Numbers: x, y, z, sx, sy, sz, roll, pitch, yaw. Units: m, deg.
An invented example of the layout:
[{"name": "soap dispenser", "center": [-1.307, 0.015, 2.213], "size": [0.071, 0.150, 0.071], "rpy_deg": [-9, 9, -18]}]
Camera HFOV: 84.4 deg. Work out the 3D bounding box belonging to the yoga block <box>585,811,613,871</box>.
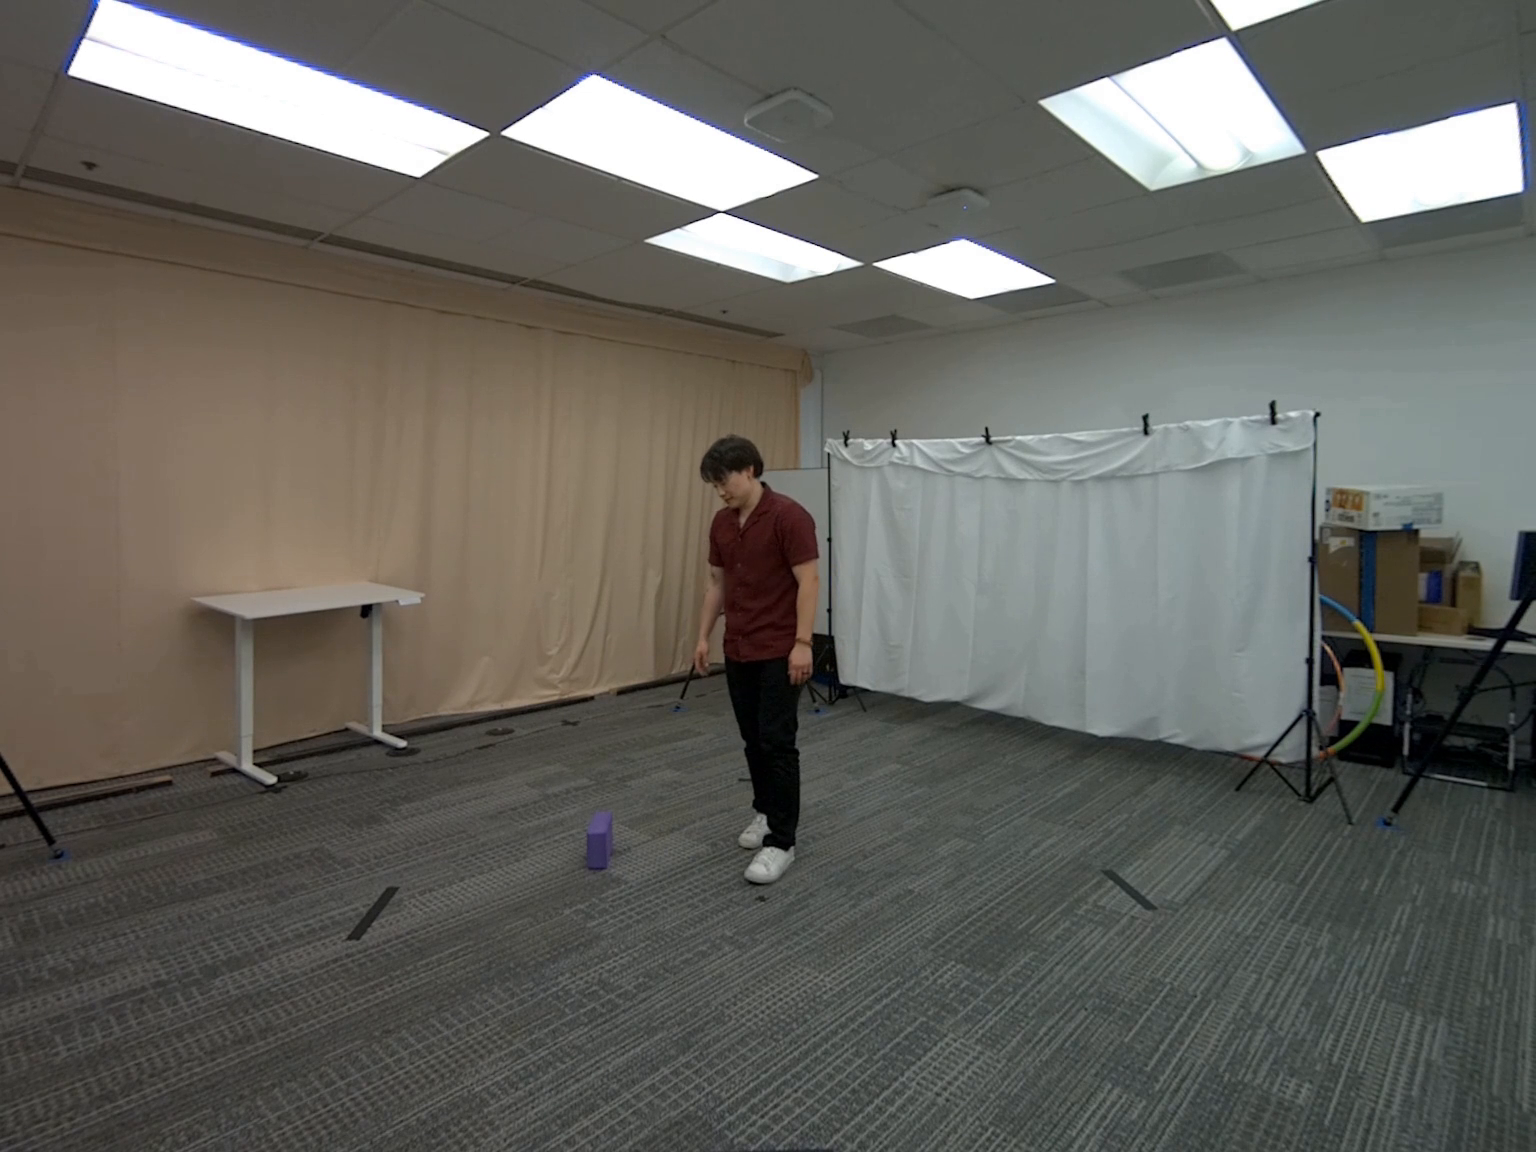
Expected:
[{"name": "yoga block", "center": [-0.668, 1.043, 3.343], "size": [0.076, 0.148, 0.230], "rpy_deg": [-2, 4, -4]}]
